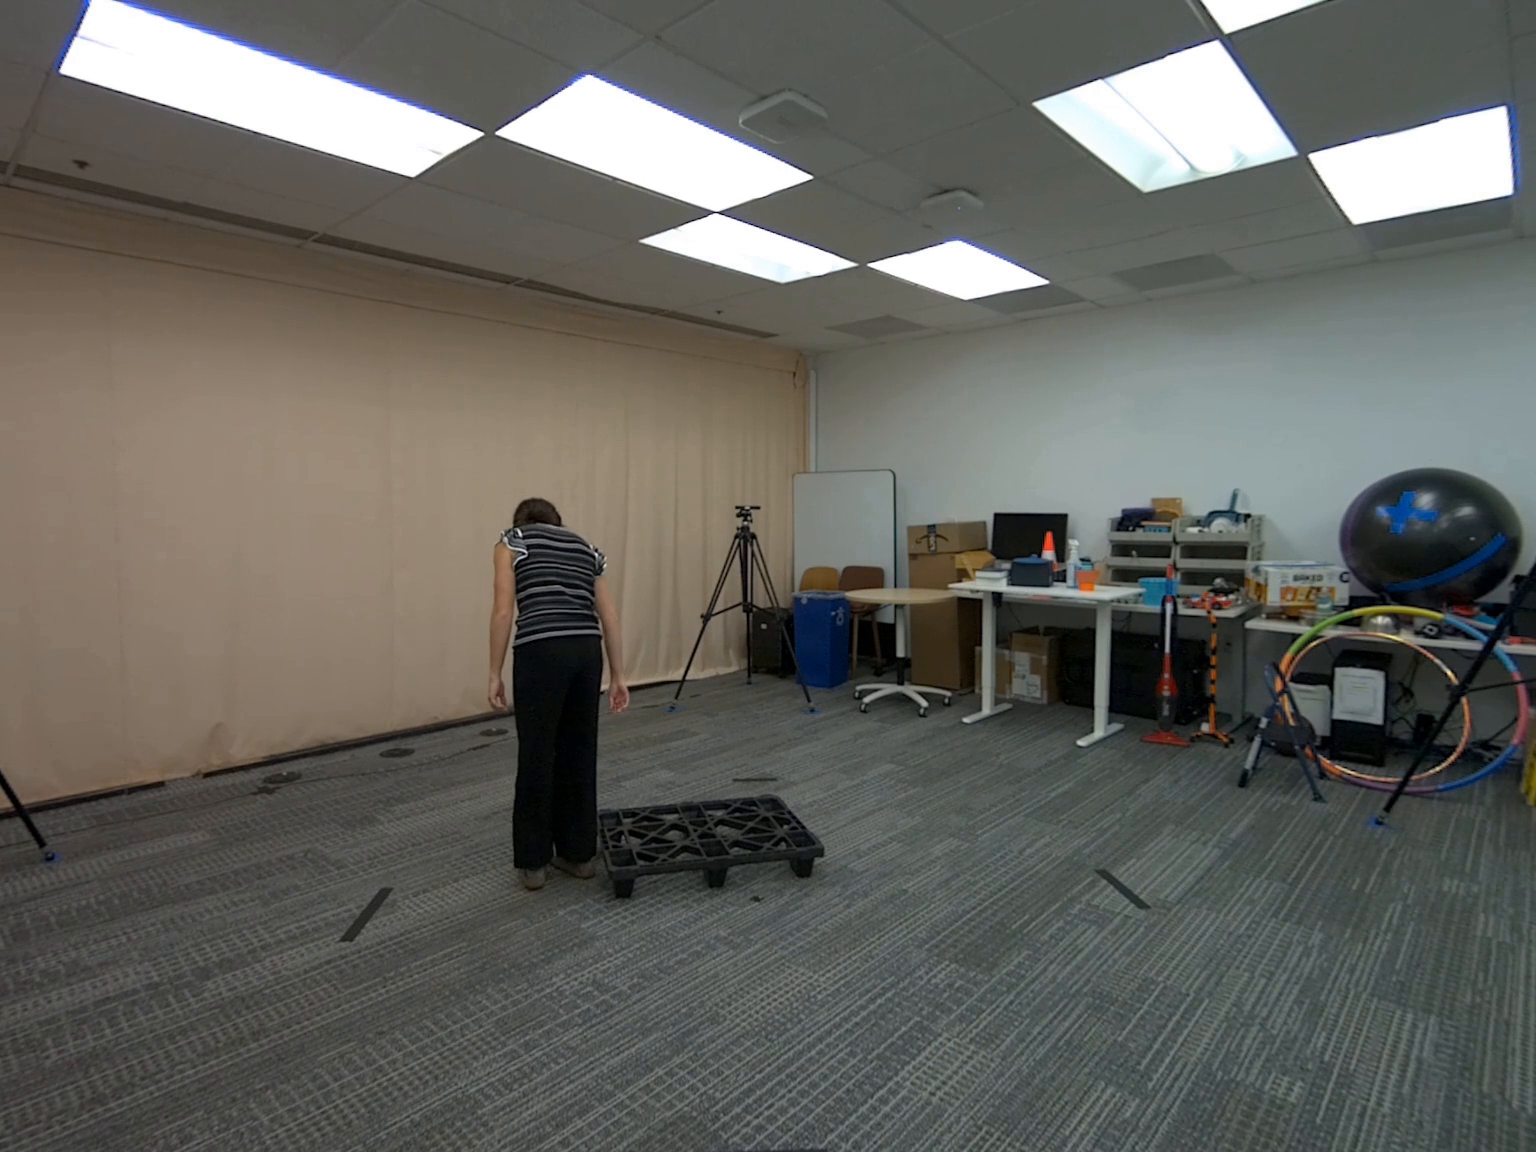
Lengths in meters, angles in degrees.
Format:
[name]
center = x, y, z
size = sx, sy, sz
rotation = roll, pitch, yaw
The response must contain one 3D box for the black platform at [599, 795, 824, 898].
[black platform]
center = -0.257, 1.050, 3.298
size = 0.793, 0.143, 0.615
rotation = -2, 4, -15
